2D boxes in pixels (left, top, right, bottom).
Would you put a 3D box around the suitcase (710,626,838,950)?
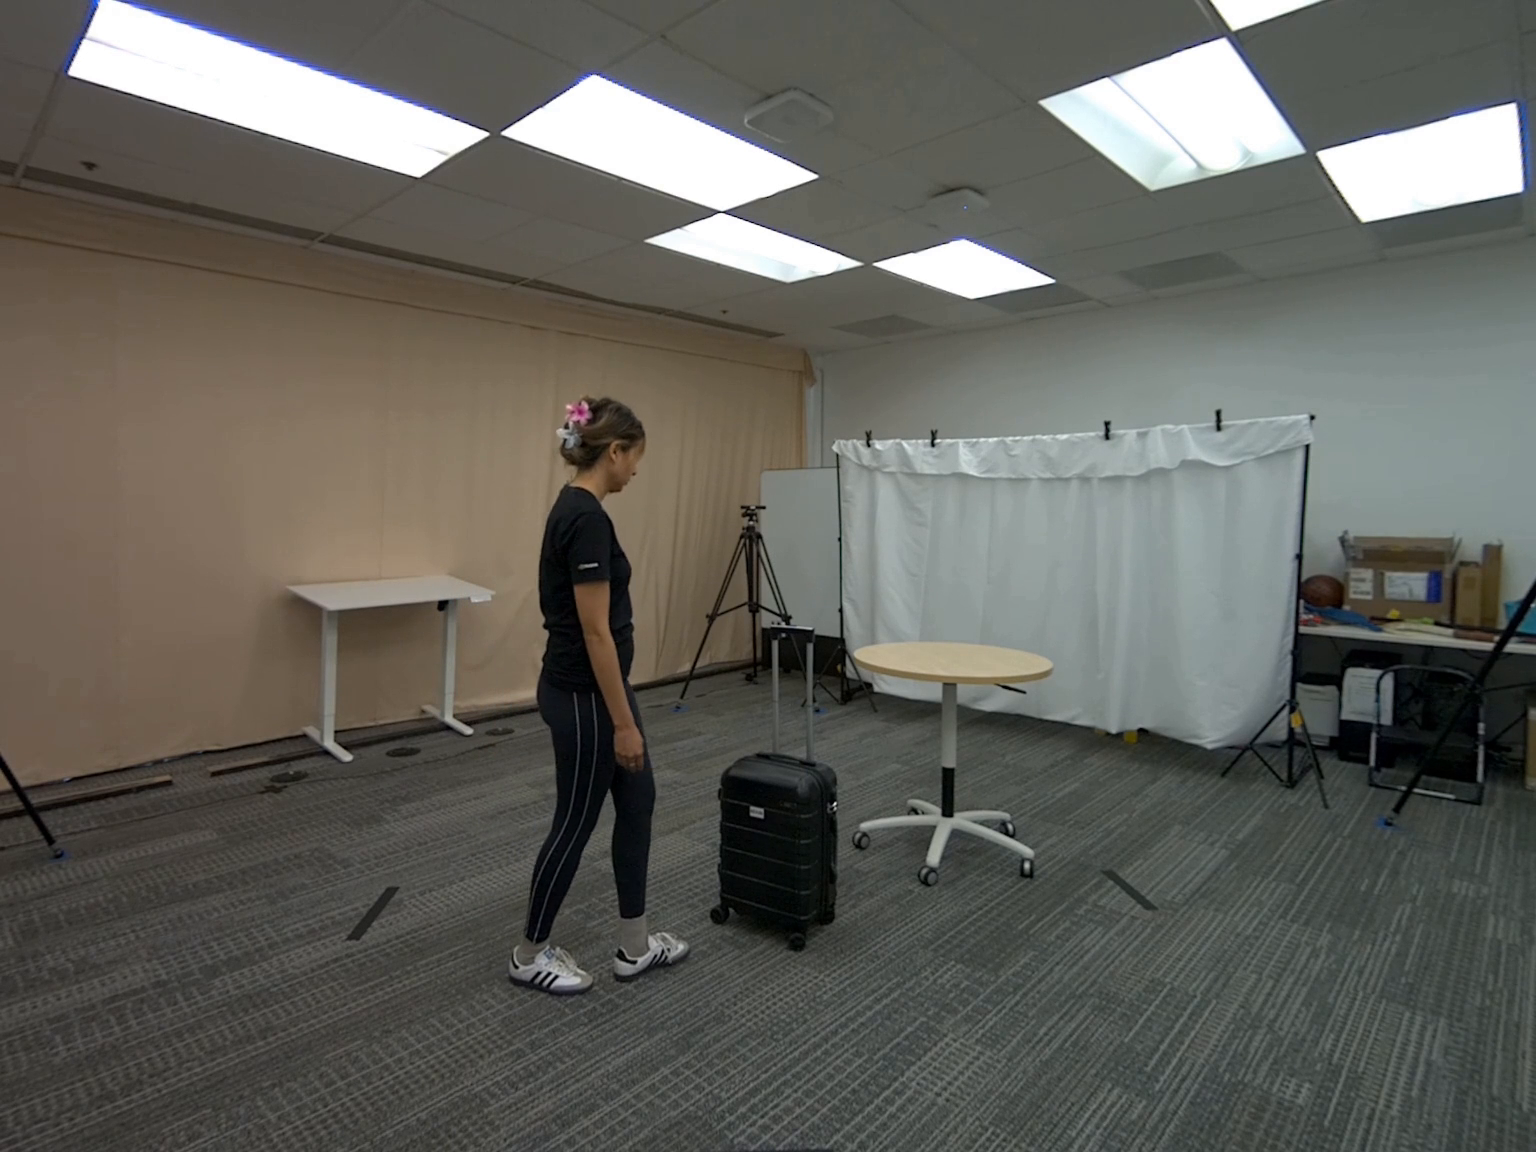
[{"bbox_3d":[0.039,0.683,2.782,0.395,0.976,0.250,4,5,31],"label":"suitcase"}]
